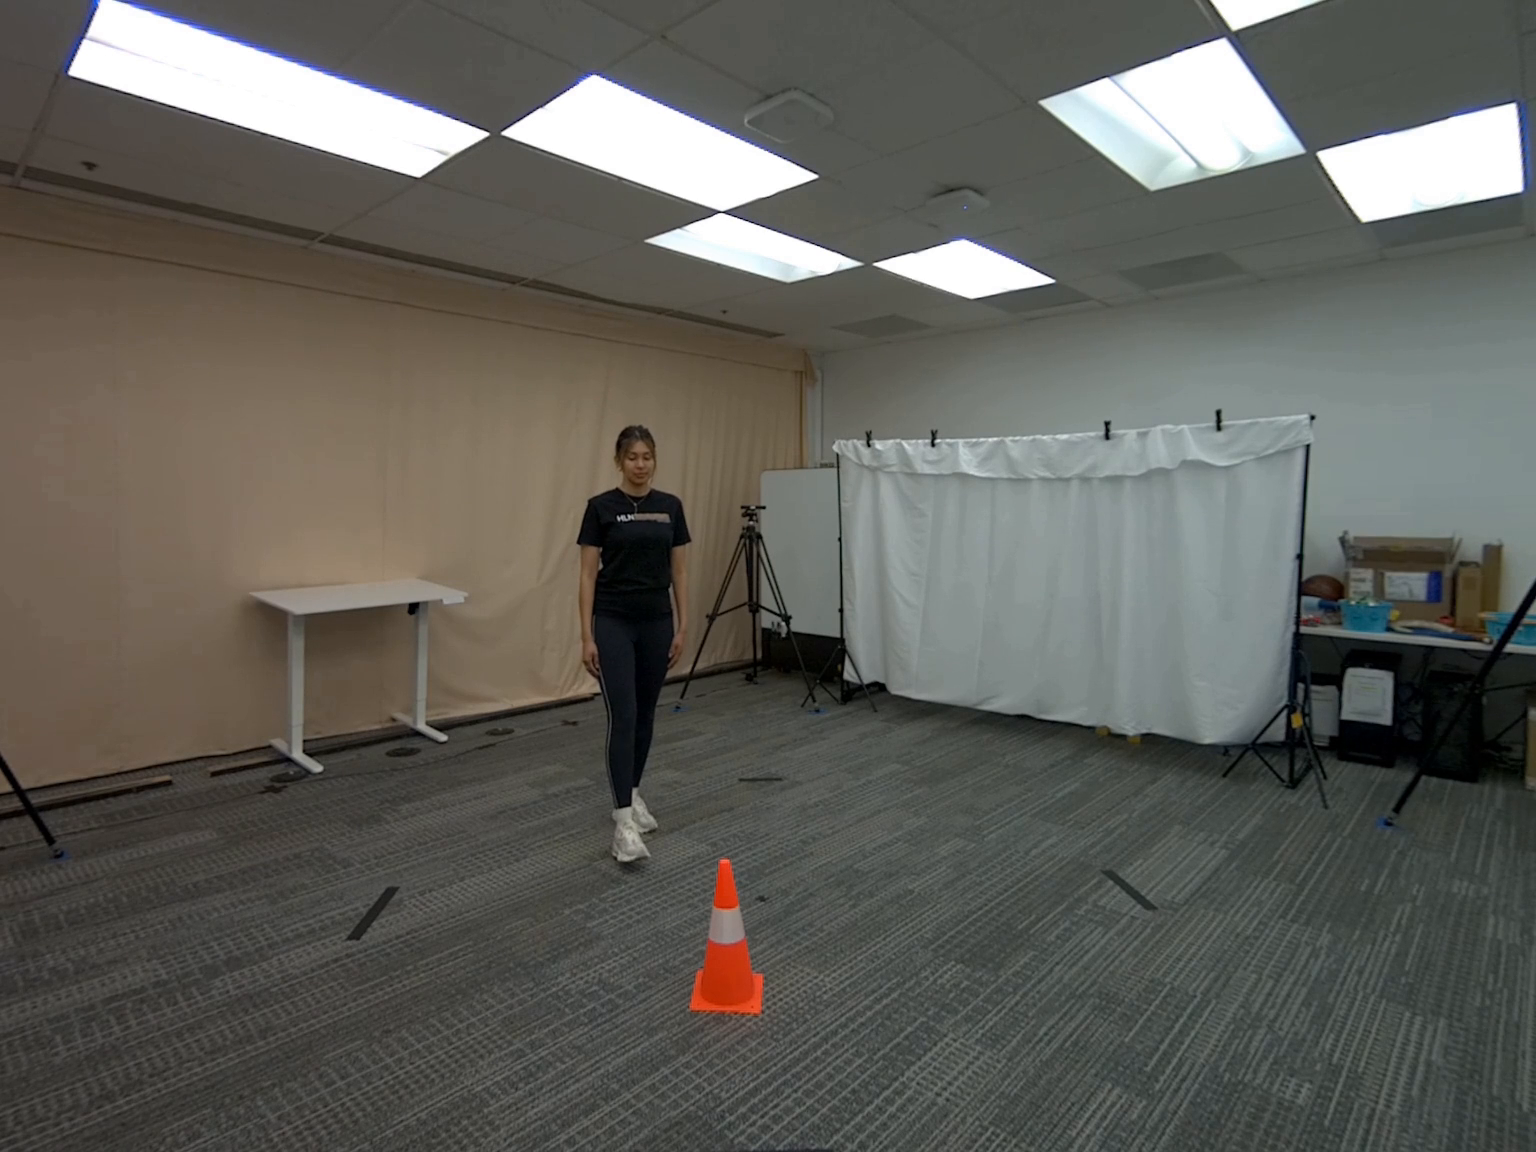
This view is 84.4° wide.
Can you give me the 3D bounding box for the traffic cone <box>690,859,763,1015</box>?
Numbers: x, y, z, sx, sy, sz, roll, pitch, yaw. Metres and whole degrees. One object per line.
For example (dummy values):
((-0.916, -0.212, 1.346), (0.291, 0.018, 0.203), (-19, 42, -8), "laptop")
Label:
((-0.119, 1.009, 2.400), (0.206, 0.383, 0.202), (-1, 1, 5), "traffic cone")
